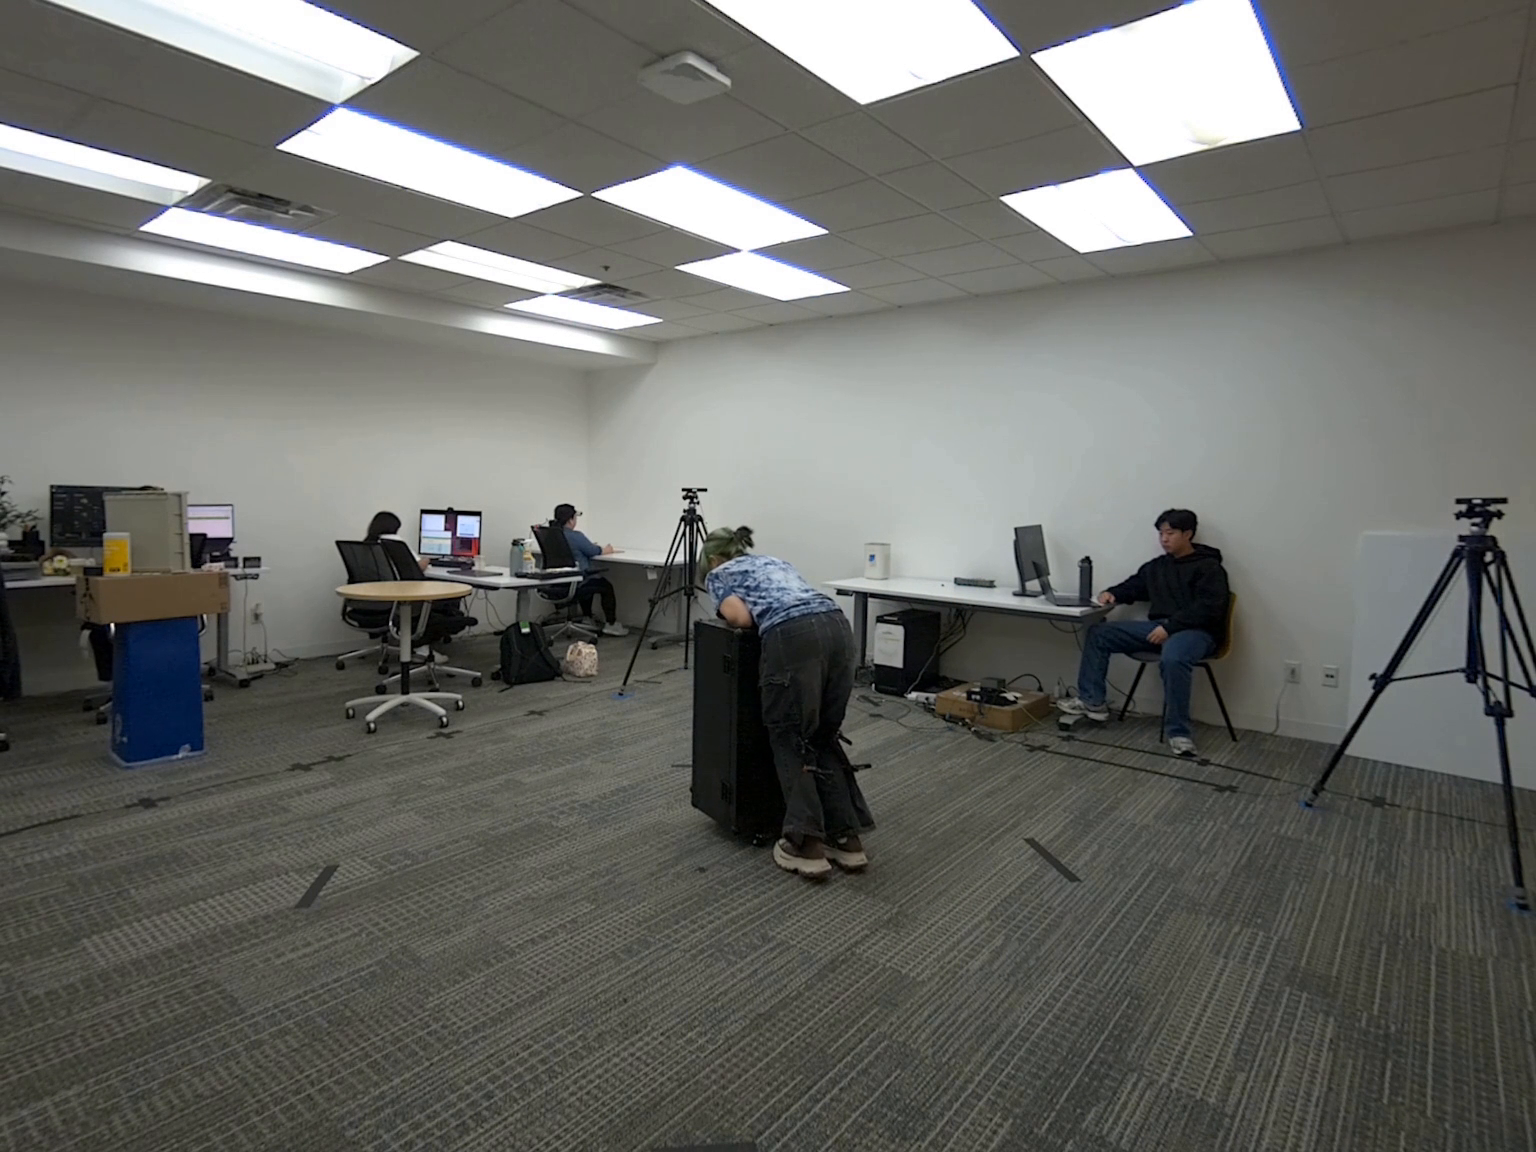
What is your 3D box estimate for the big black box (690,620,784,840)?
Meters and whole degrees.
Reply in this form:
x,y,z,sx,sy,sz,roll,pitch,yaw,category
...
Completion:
x,y,z,sx,sy,sz,roll,pitch,yaw,category
-0.032,0.554,3.516,0.507,0.859,0.408,-1,3,-31,big black box
